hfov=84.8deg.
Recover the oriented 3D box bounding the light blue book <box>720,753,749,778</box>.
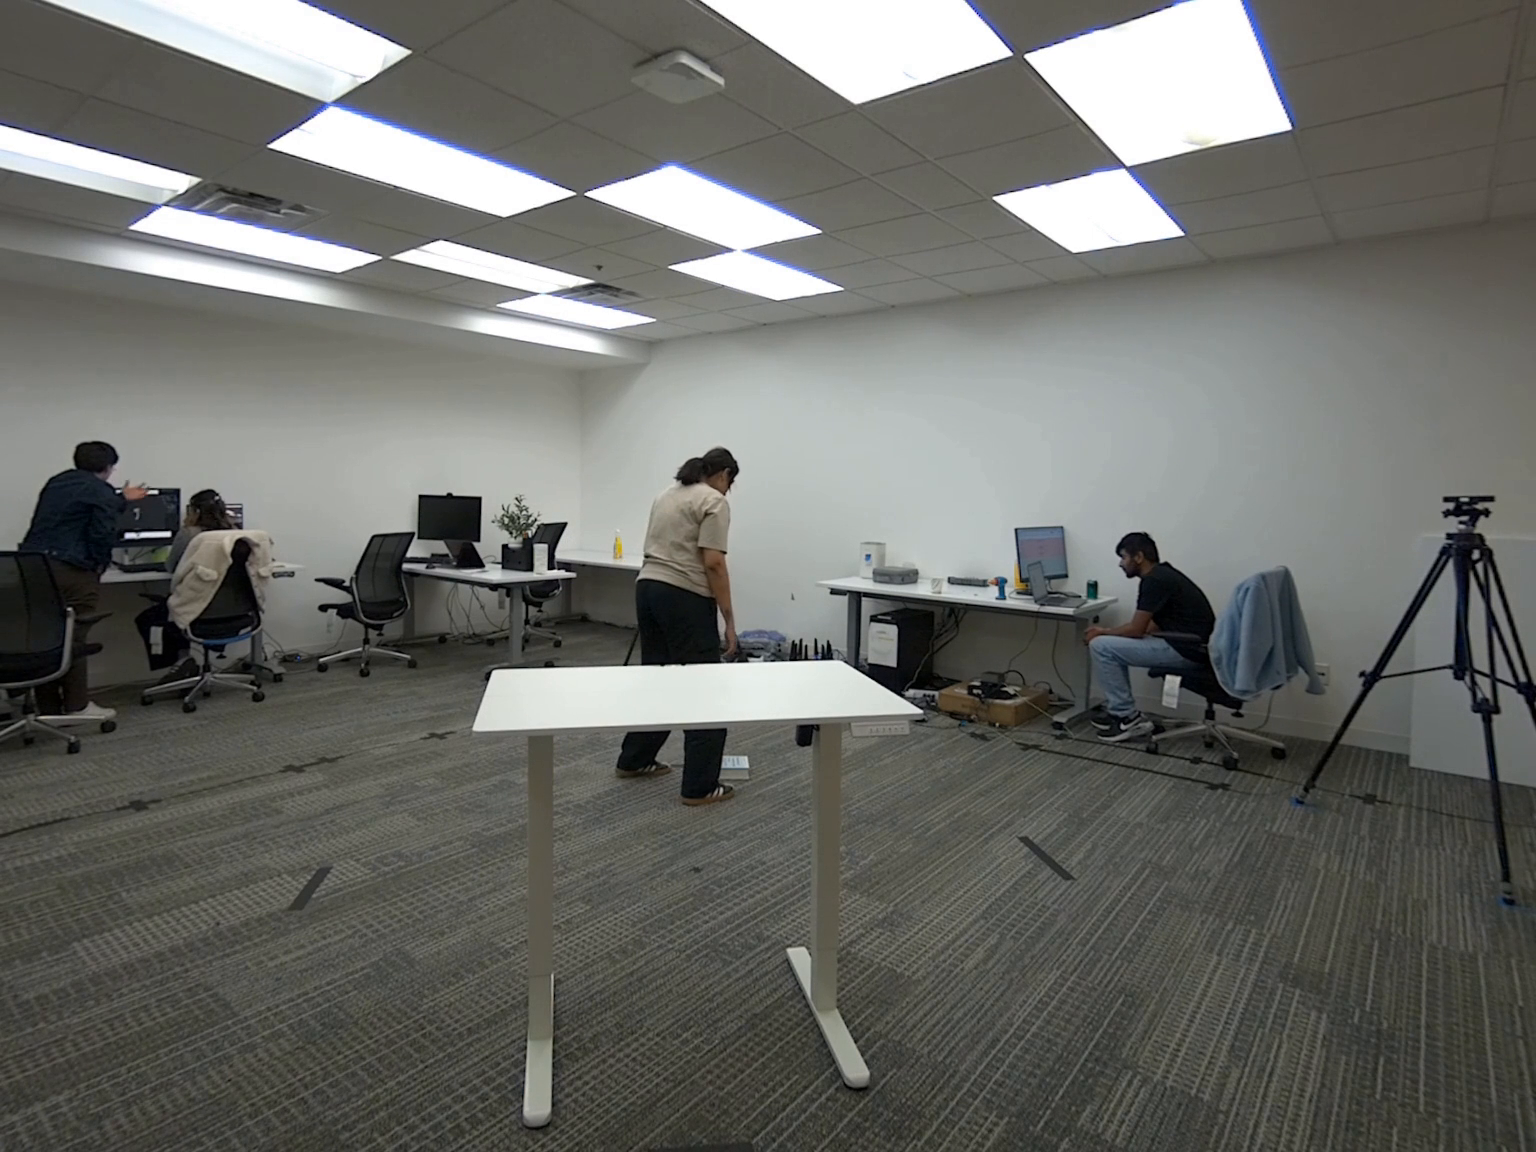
[{"bbox_3d":[-0.236,0.934,4.162,0.260,0.059,0.192,0,6,-2],"label":"light blue book"}]
